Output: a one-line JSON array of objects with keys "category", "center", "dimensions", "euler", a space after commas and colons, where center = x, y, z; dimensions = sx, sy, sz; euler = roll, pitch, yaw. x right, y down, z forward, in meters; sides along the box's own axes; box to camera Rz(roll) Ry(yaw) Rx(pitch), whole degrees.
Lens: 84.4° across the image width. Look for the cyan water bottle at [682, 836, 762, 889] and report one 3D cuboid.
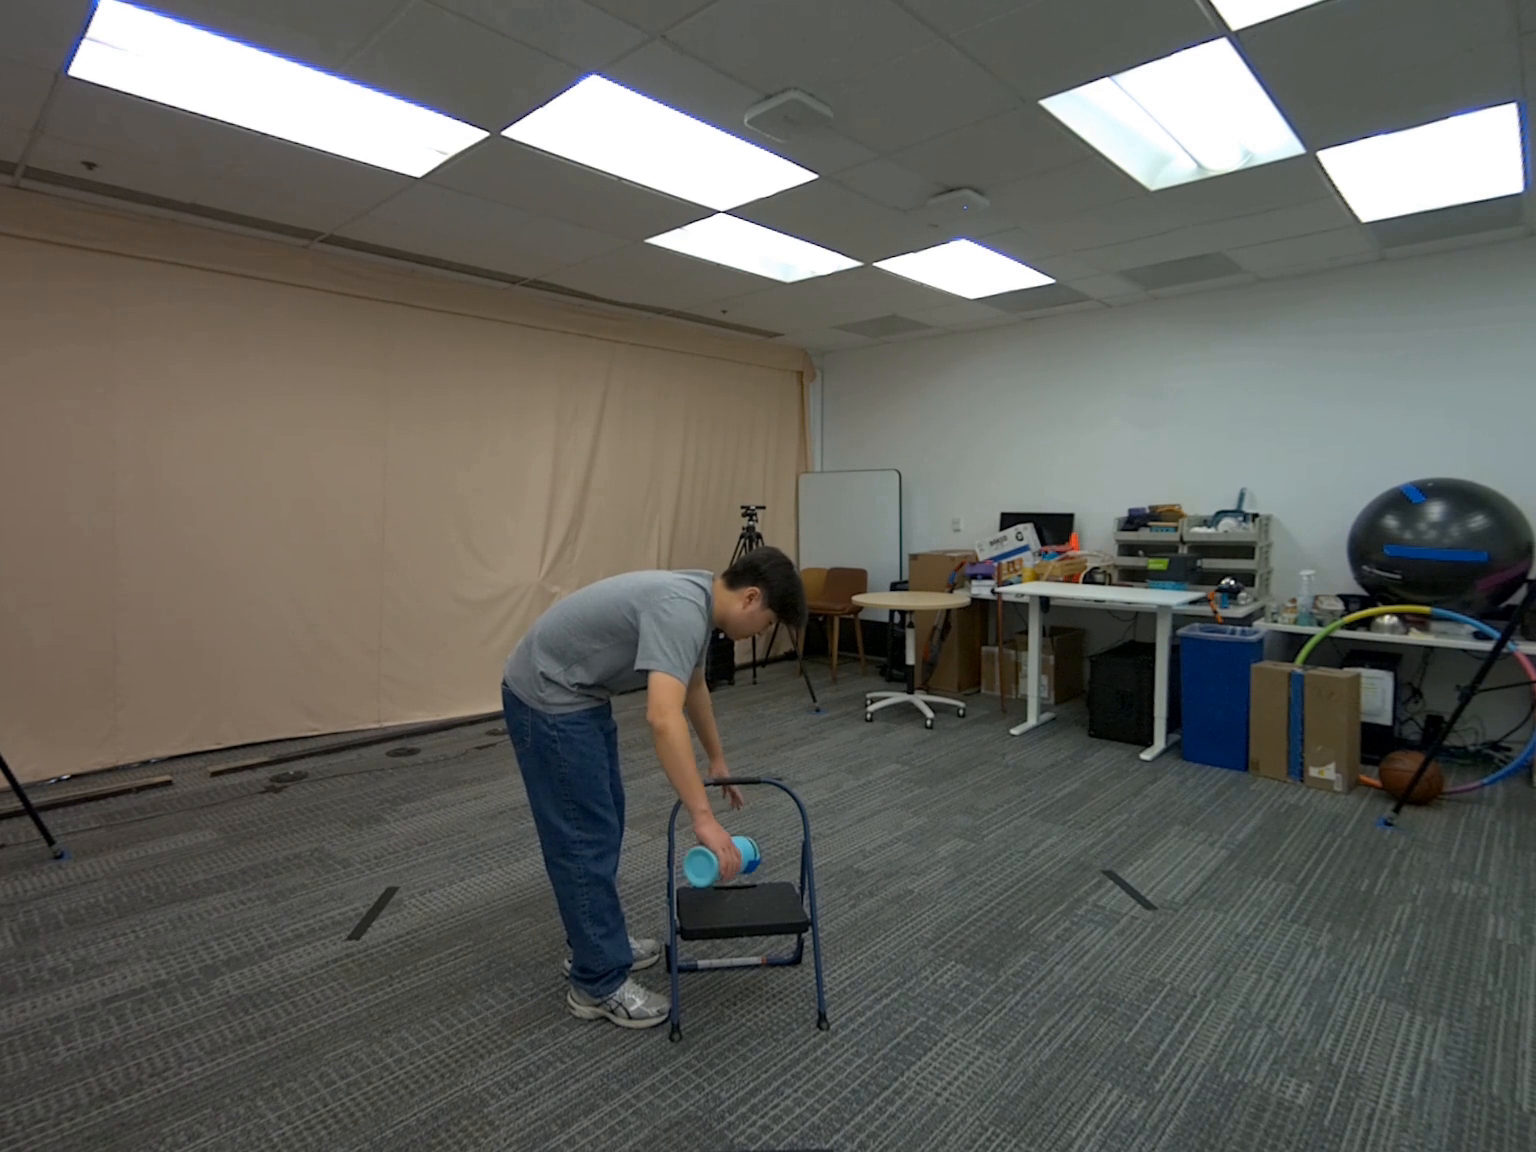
[{"category": "cyan water bottle", "center": [-0.095, 0.681, 2.037], "dimensions": [0.095, 0.093, 0.274], "euler": [2, -10, 29]}]
